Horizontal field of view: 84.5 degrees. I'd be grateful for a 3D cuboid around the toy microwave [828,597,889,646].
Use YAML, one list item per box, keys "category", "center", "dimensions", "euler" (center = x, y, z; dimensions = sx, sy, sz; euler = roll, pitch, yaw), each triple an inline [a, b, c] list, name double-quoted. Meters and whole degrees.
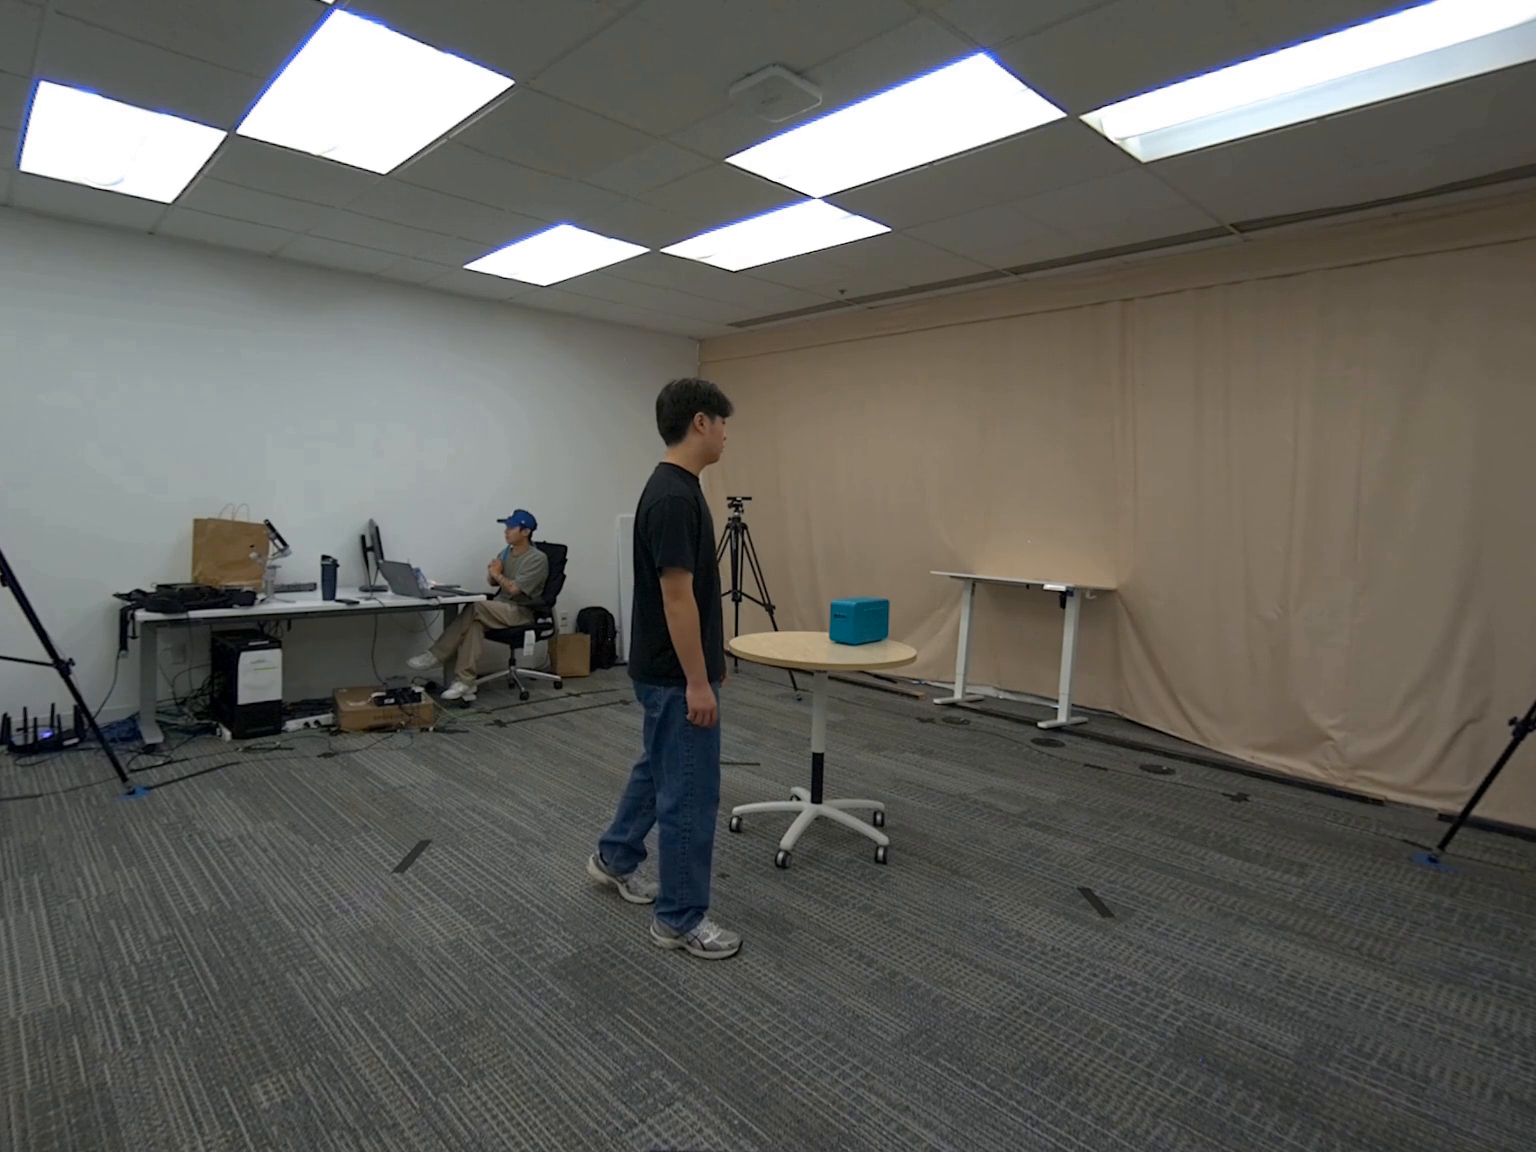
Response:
- category: "toy microwave"
  center: [0.383, 0.190, 3.617]
  dimensions: [0.156, 0.184, 0.280]
  euler: [4, 5, 41]
